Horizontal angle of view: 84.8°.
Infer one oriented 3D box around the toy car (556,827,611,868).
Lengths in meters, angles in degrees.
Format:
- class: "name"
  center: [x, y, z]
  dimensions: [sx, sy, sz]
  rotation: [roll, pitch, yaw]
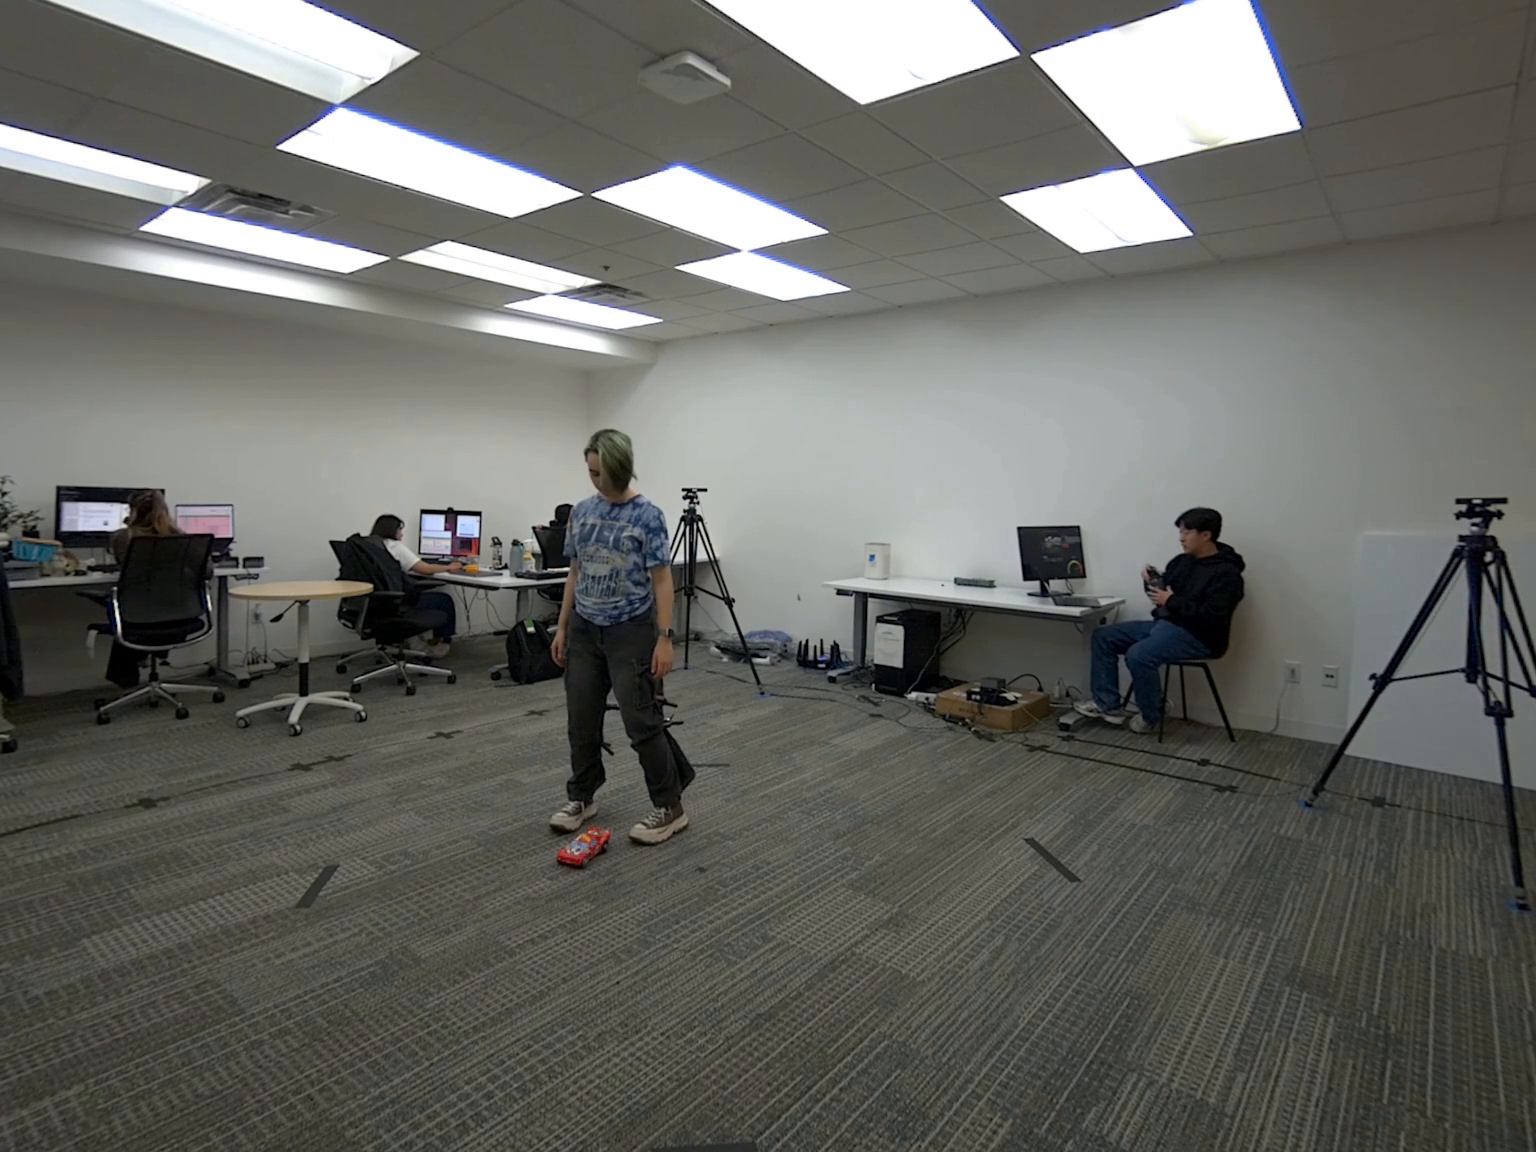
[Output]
- class: "toy car"
  center: [-0.698, 1.022, 3.206]
  dimensions: [0.133, 0.082, 0.252]
  rotation: [2, 16, 20]
